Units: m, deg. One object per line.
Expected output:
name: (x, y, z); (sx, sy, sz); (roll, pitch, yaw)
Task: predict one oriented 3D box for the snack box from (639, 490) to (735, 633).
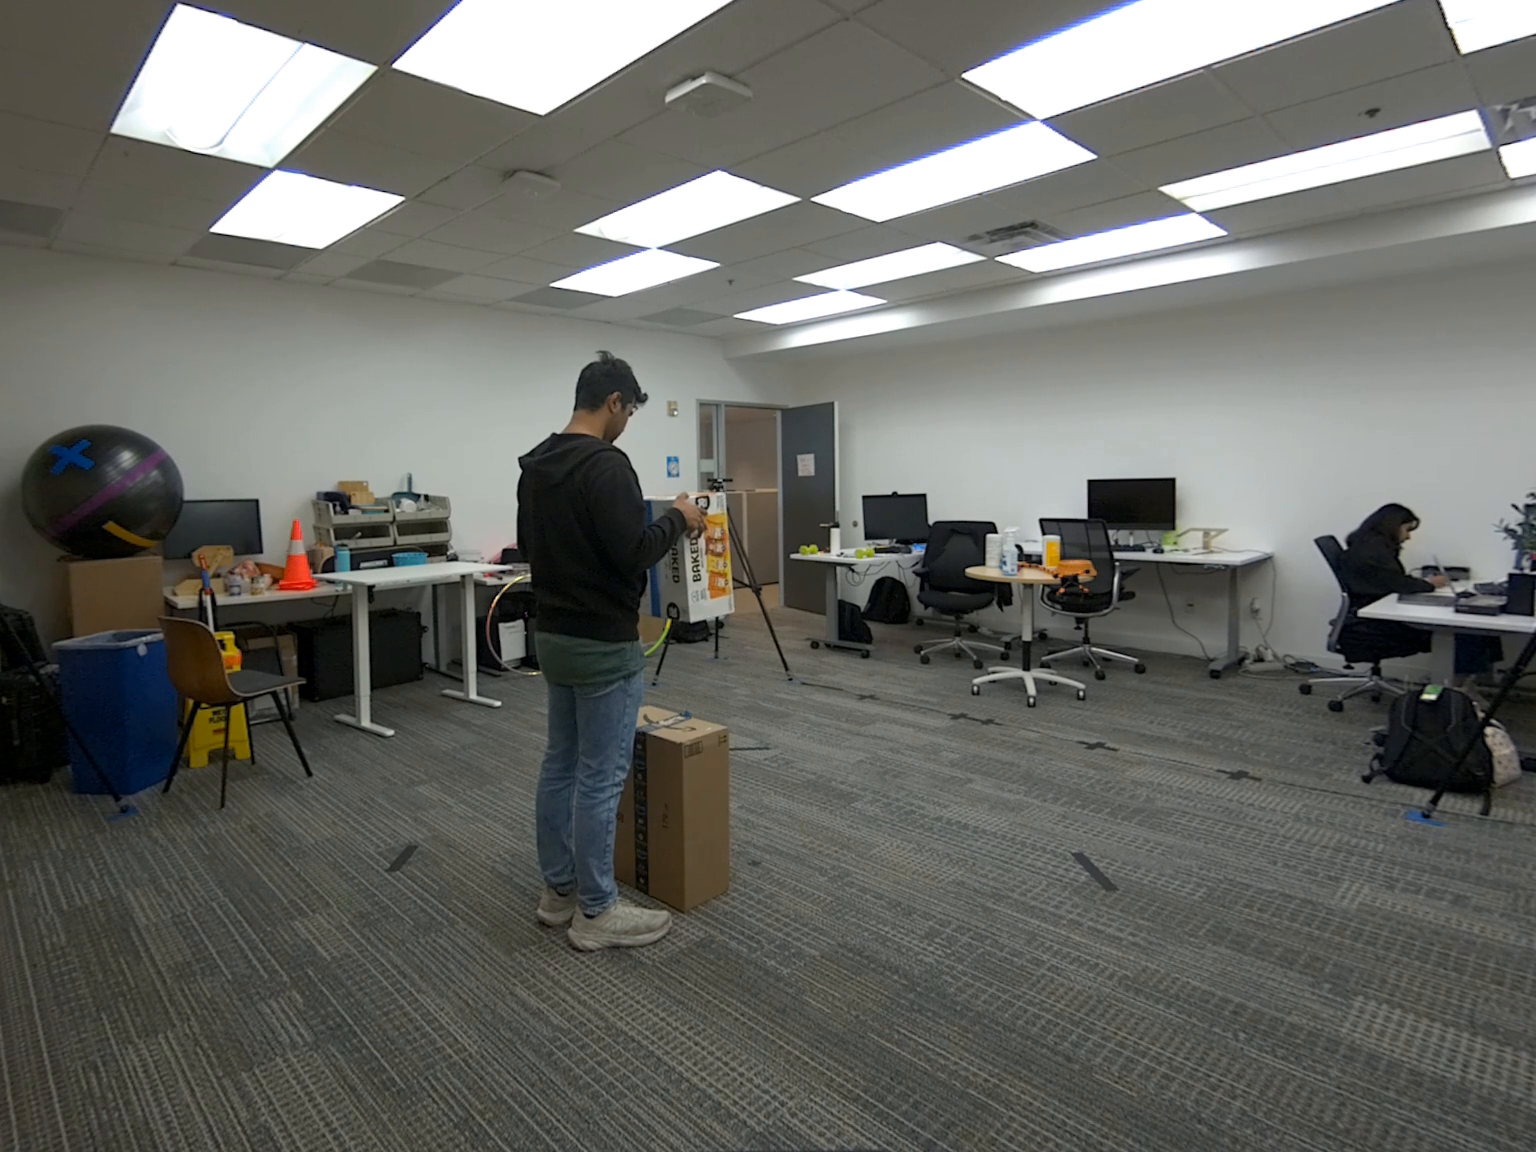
snack box: (-0.314, -0.070, 2.930); (0.201, 0.403, 0.350); (-11, 9, -43)
